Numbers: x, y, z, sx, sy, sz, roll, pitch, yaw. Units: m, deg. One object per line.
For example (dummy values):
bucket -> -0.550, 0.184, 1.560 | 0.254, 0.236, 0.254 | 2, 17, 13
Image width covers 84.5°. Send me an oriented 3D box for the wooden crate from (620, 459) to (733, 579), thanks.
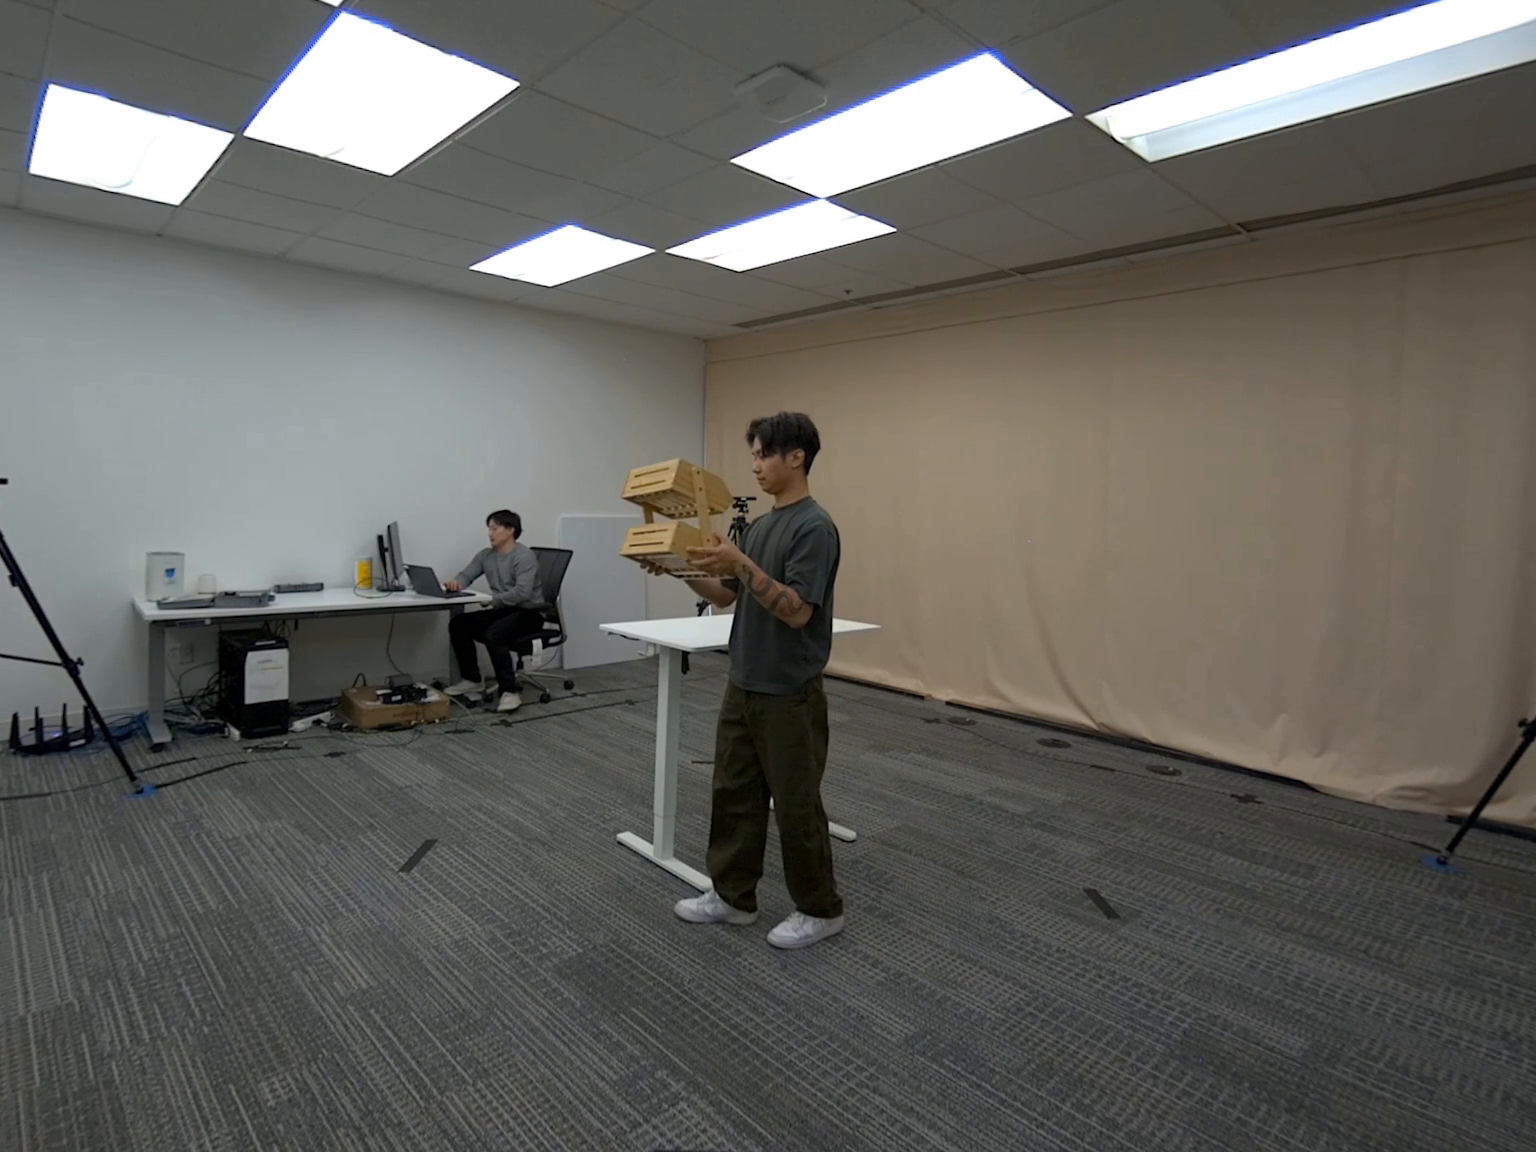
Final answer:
wooden crate -> -0.254, -0.160, 2.517 | 0.294, 0.275, 0.331 | 23, -15, -33
